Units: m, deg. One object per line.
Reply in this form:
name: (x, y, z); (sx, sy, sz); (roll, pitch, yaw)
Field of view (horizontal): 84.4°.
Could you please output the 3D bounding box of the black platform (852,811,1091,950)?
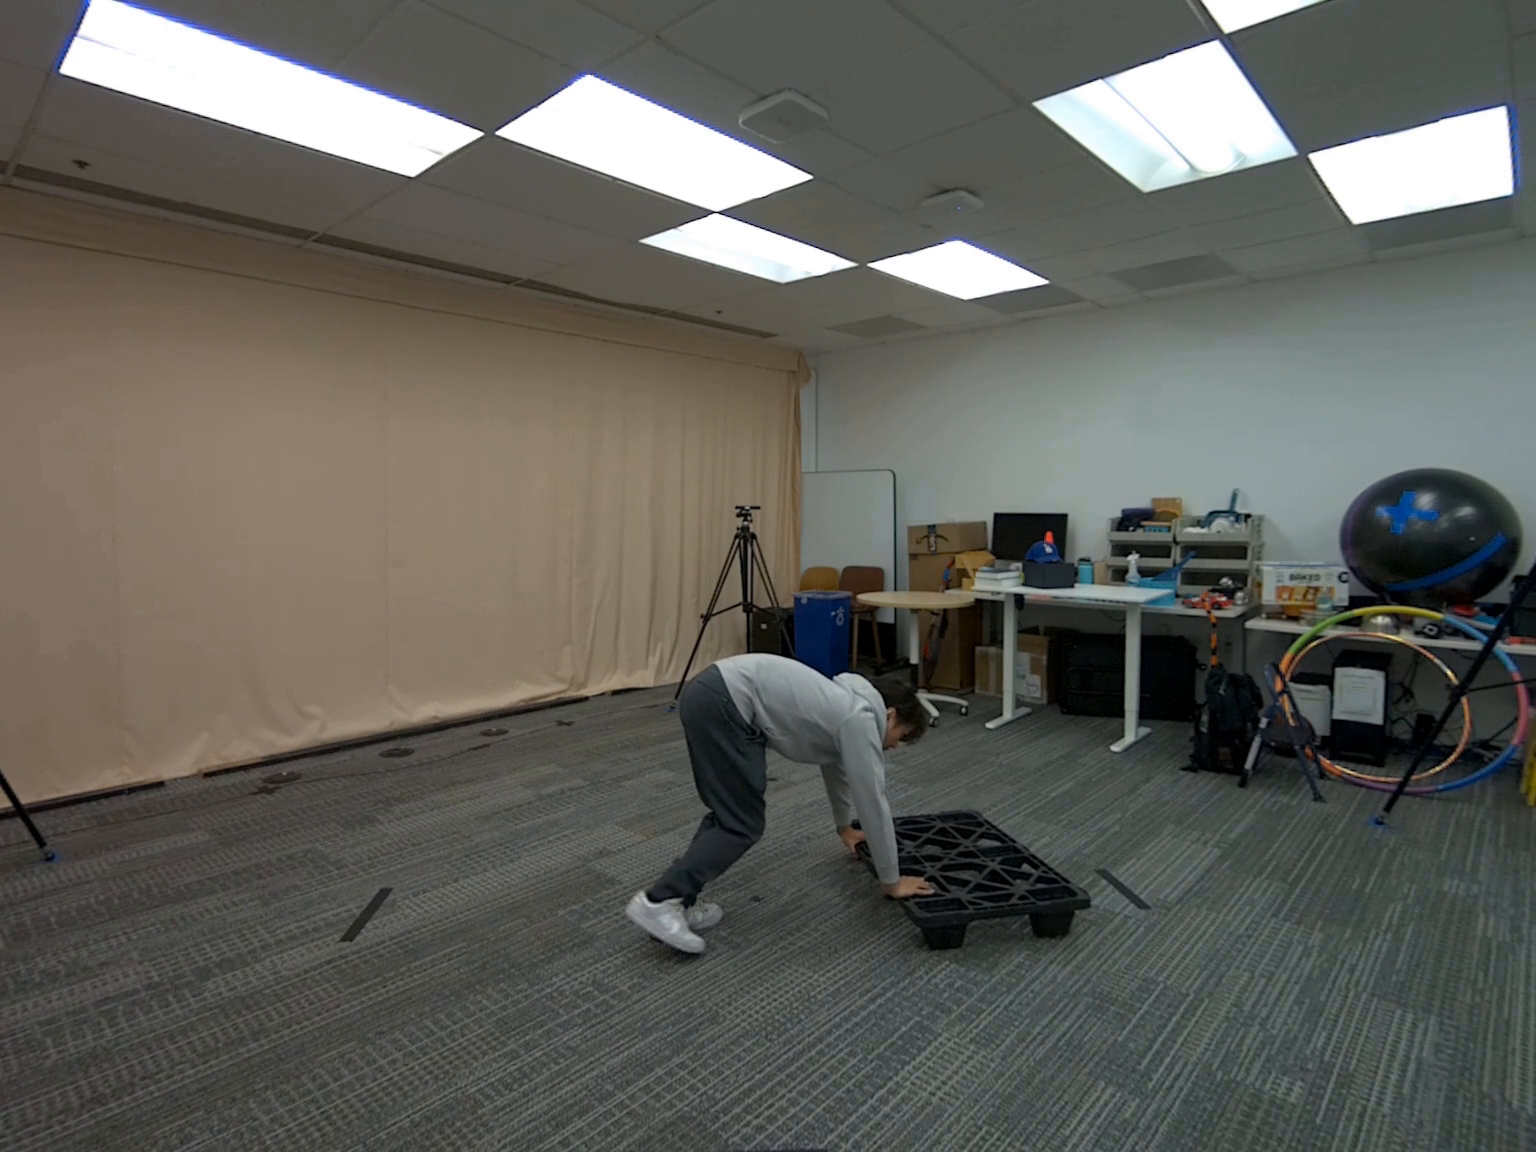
black platform: (0.659, 1.067, 3.027); (0.598, 0.143, 0.818); (-1, 5, -13)
